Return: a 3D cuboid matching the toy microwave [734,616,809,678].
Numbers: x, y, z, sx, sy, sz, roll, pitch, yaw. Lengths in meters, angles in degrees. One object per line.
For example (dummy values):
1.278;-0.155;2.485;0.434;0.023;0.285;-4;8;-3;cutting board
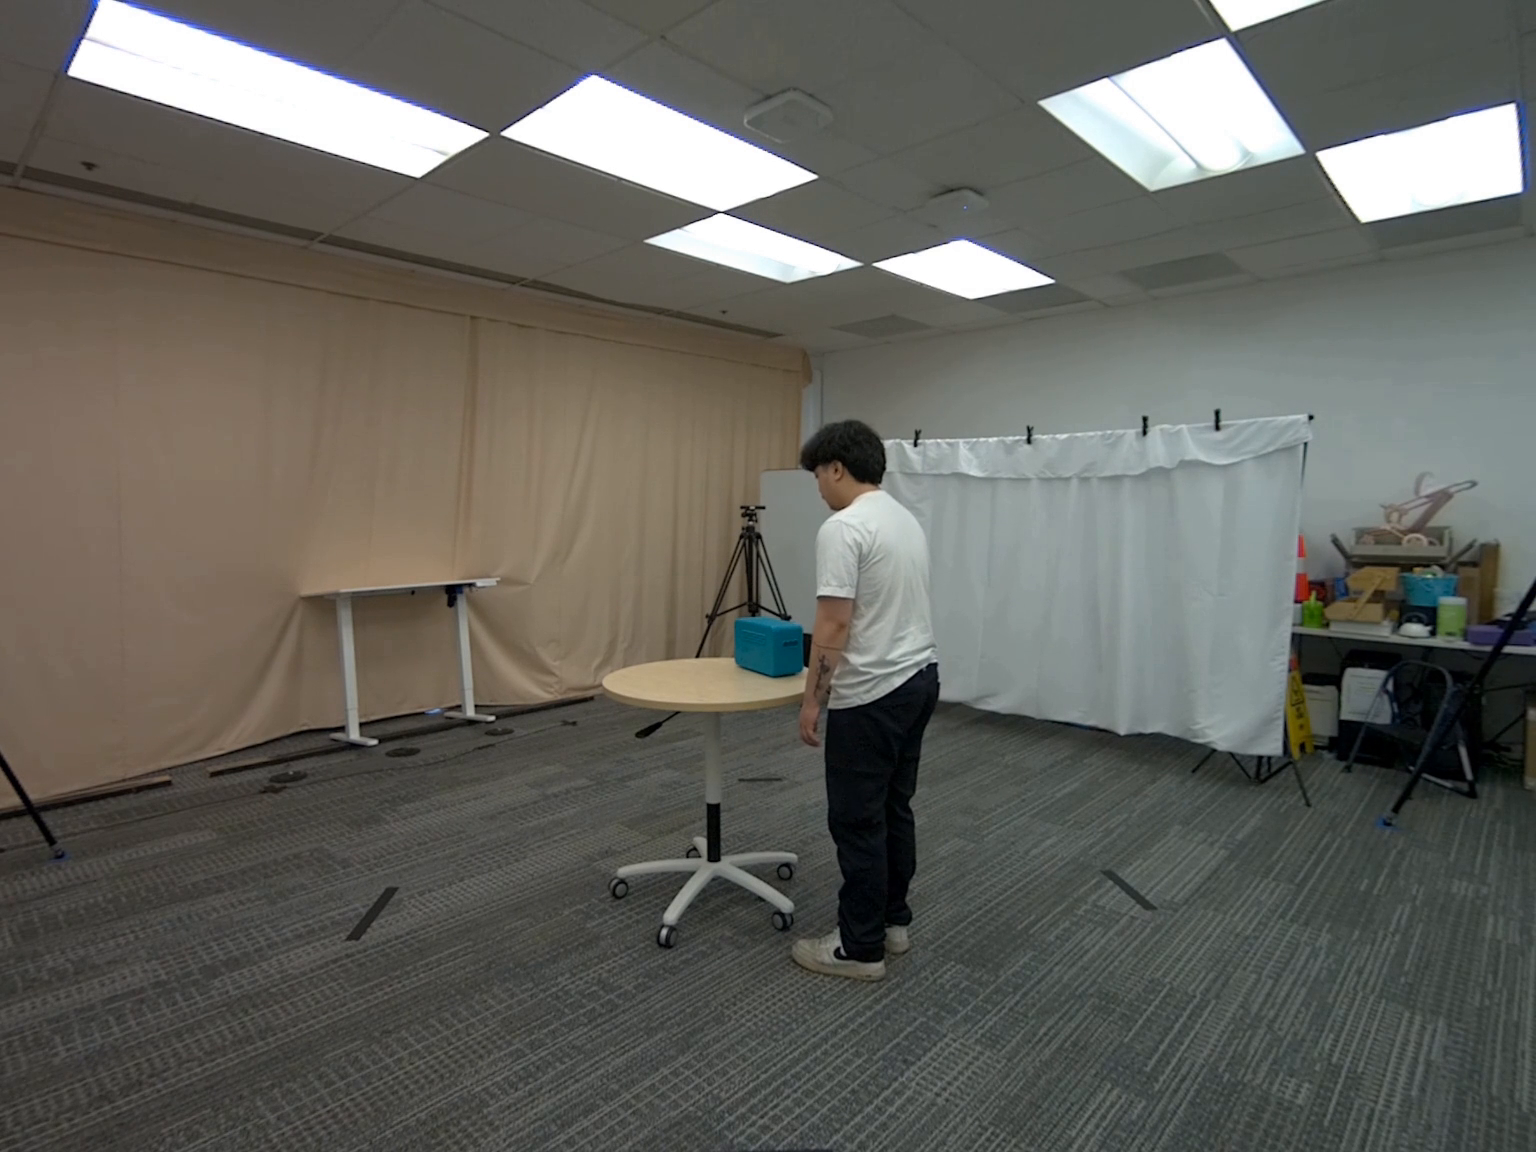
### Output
0.010;0.251;3.059;0.148;0.184;0.294;-3;5;-31;toy microwave
